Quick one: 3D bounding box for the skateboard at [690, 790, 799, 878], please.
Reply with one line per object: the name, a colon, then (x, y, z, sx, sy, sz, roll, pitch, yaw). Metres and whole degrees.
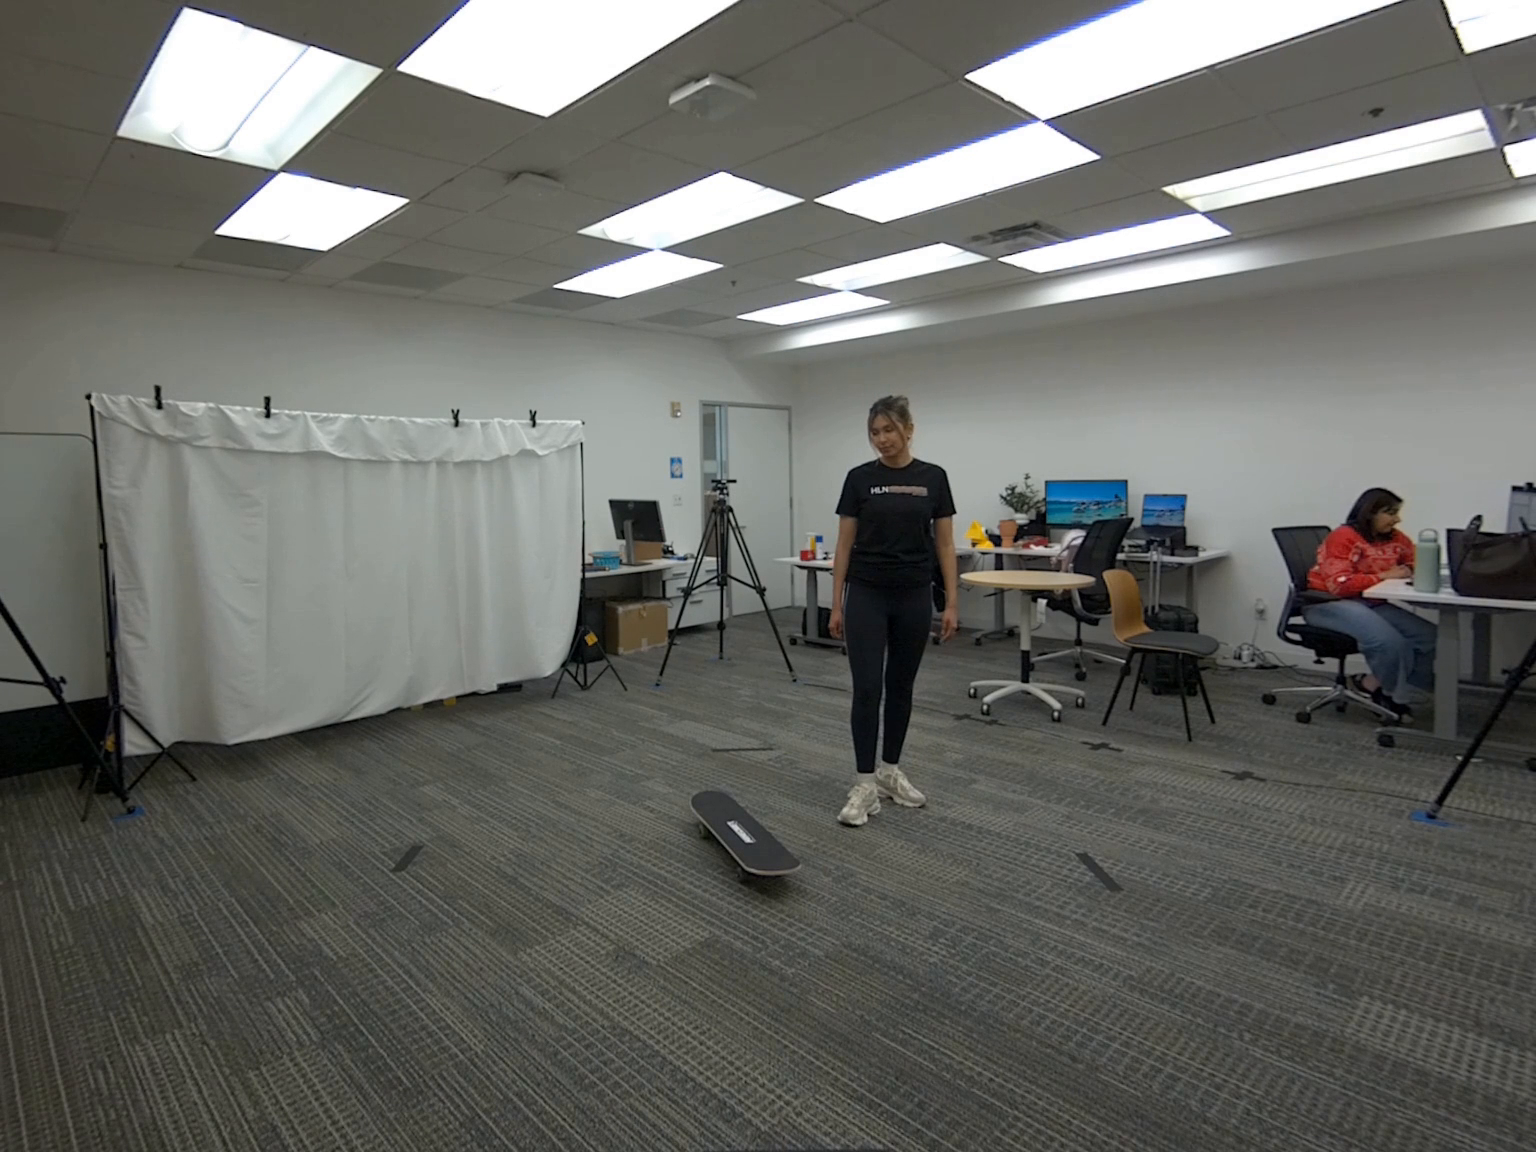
skateboard: (-0.096, 0.982, 3.181, 0.190, 0.110, 0.804, -2, 6, -23)
